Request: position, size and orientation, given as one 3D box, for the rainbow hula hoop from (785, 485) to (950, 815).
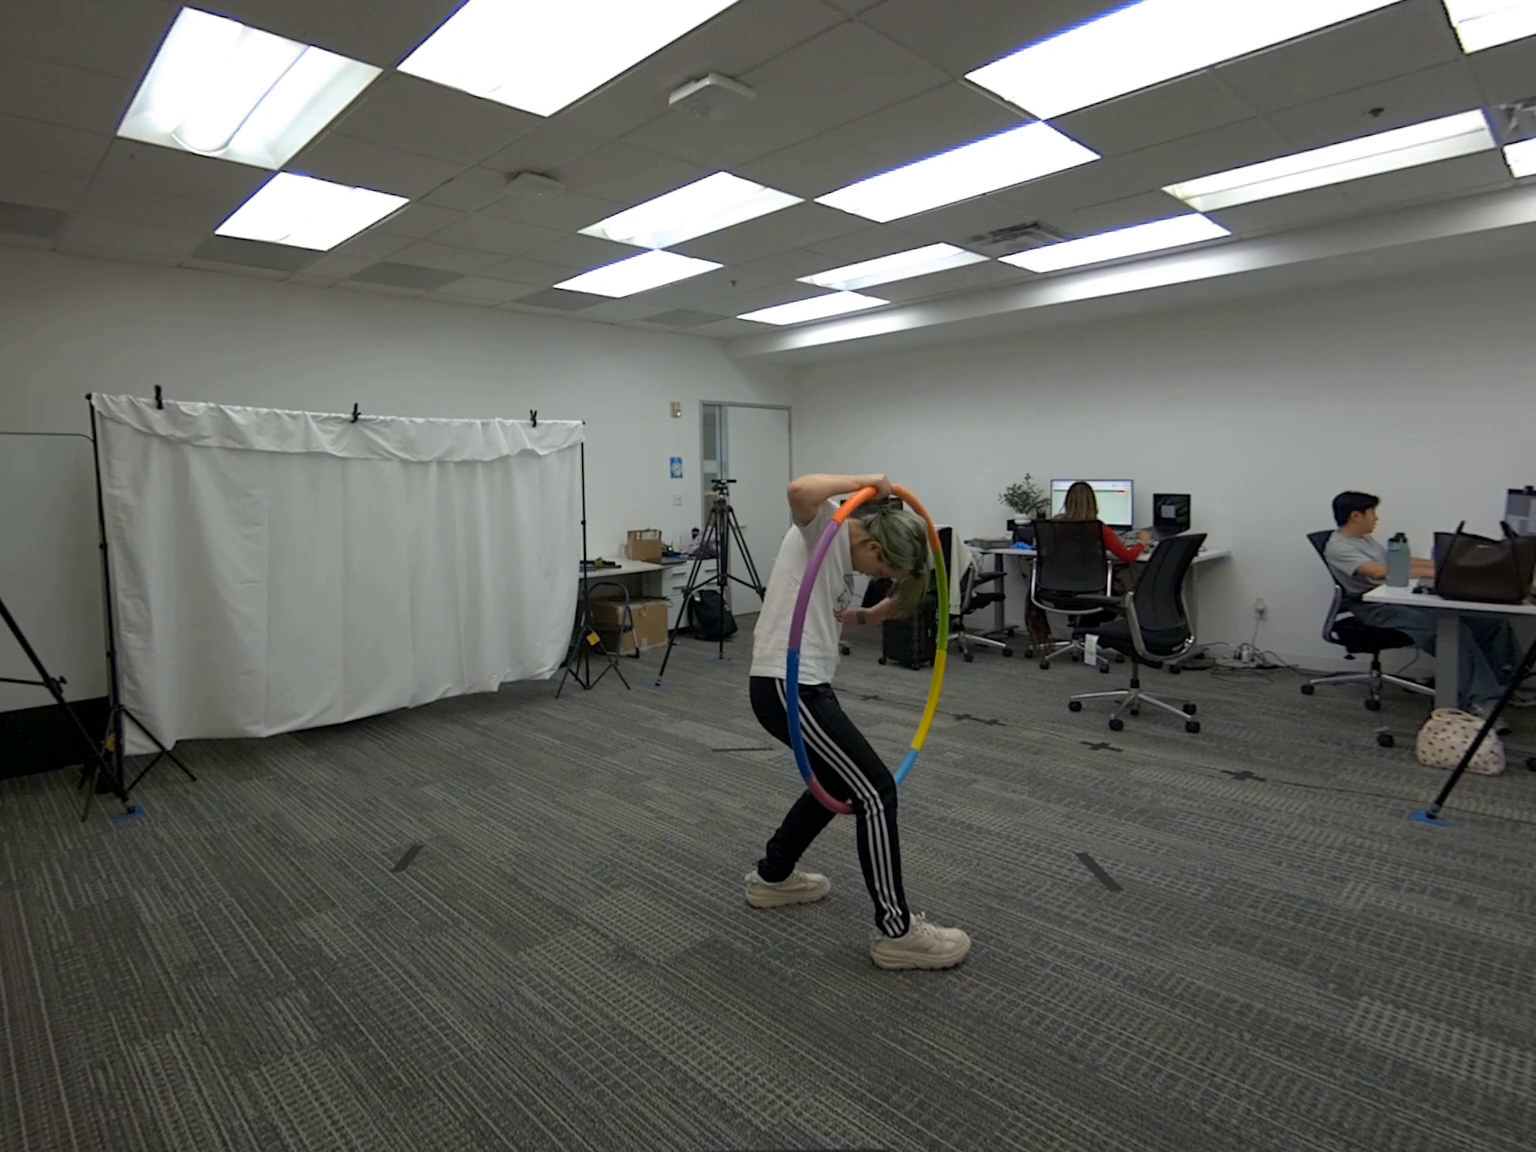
[{"bbox_3d":[0.323,0.217,2.595,0.036,0.974,0.954,5,8,38],"label":"rainbow hula hoop"}]
